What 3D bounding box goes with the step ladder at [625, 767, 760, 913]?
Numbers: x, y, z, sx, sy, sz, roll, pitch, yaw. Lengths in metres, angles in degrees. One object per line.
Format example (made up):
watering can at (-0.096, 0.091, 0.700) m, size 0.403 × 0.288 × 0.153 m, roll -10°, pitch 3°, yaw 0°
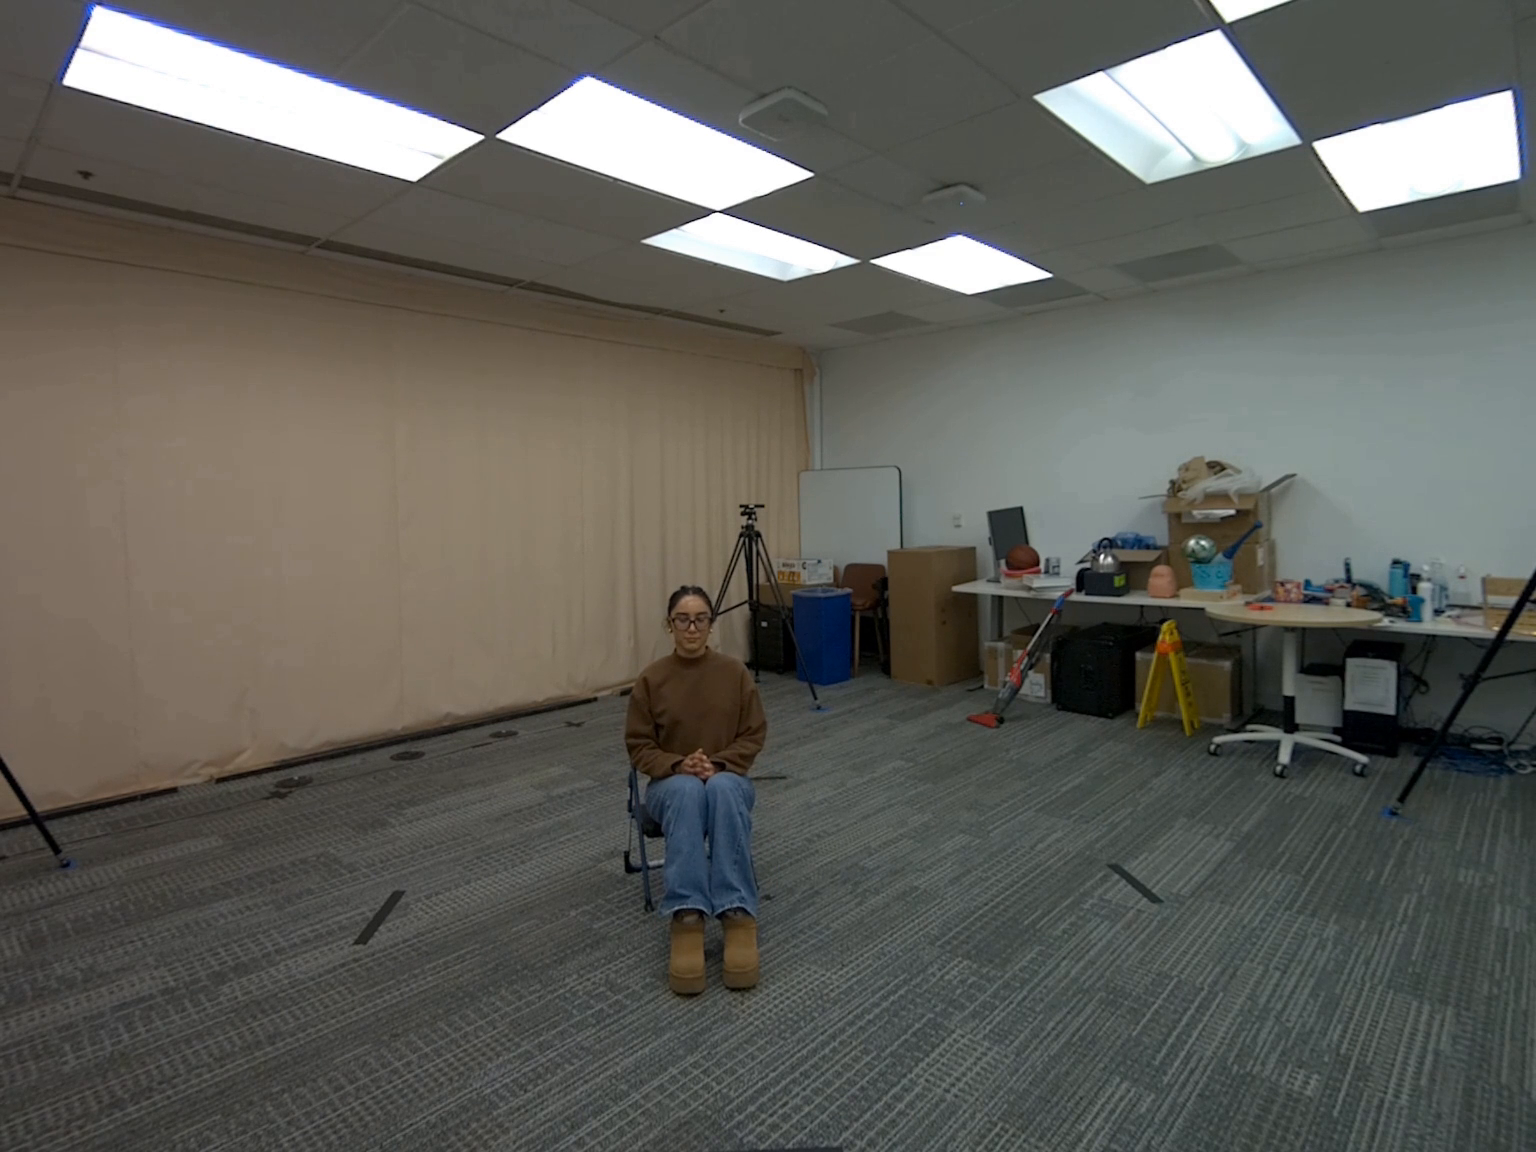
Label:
step ladder at (-0.298, 0.839, 3.121) m, size 0.421 × 0.605 × 0.357 m, roll -2°, pitch 3°, yaw -22°
